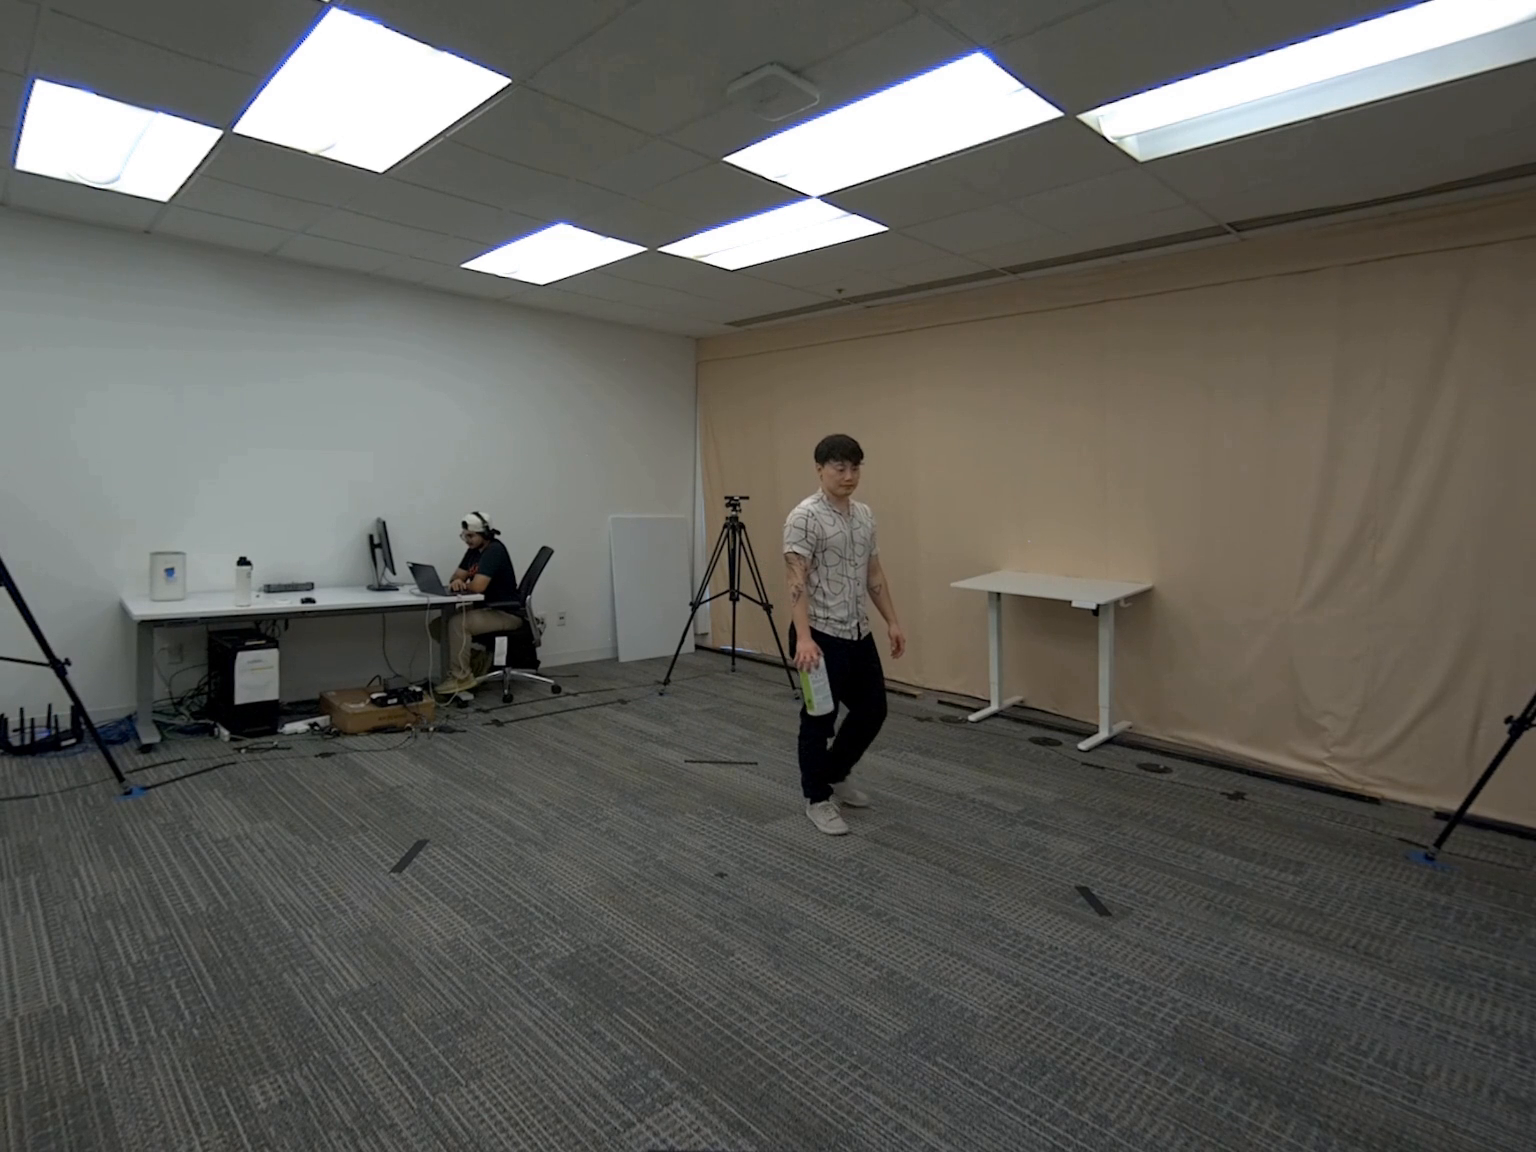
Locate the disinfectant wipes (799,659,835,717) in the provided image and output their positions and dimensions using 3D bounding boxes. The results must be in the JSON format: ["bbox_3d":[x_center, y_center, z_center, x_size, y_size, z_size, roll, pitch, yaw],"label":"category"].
[{"bbox_3d":[0.176,0.441,3.351,0.118,0.216,0.118,-10,5,0],"label":"disinfectant wipes"}]
